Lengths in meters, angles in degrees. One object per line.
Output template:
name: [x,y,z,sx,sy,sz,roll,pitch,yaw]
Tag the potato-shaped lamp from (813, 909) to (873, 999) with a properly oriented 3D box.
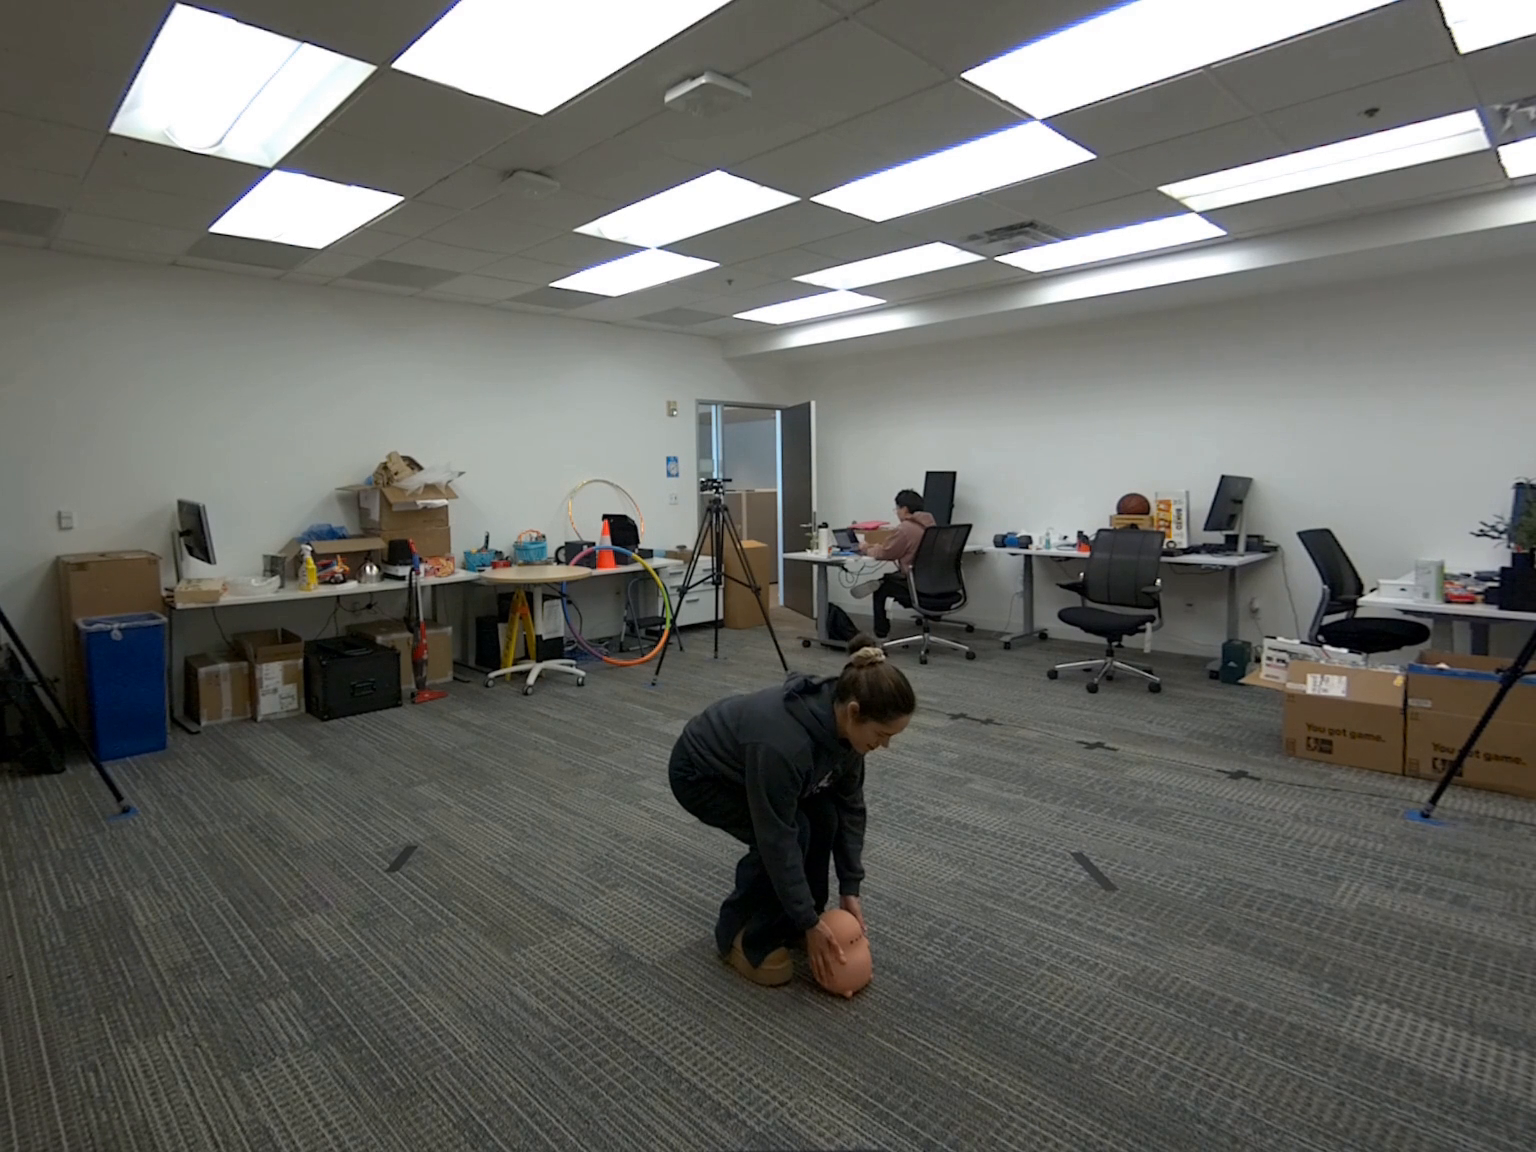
potato-shaped lamp: [0.198,1.018,2.340,0.177,0.197,0.160,6,6,45]
